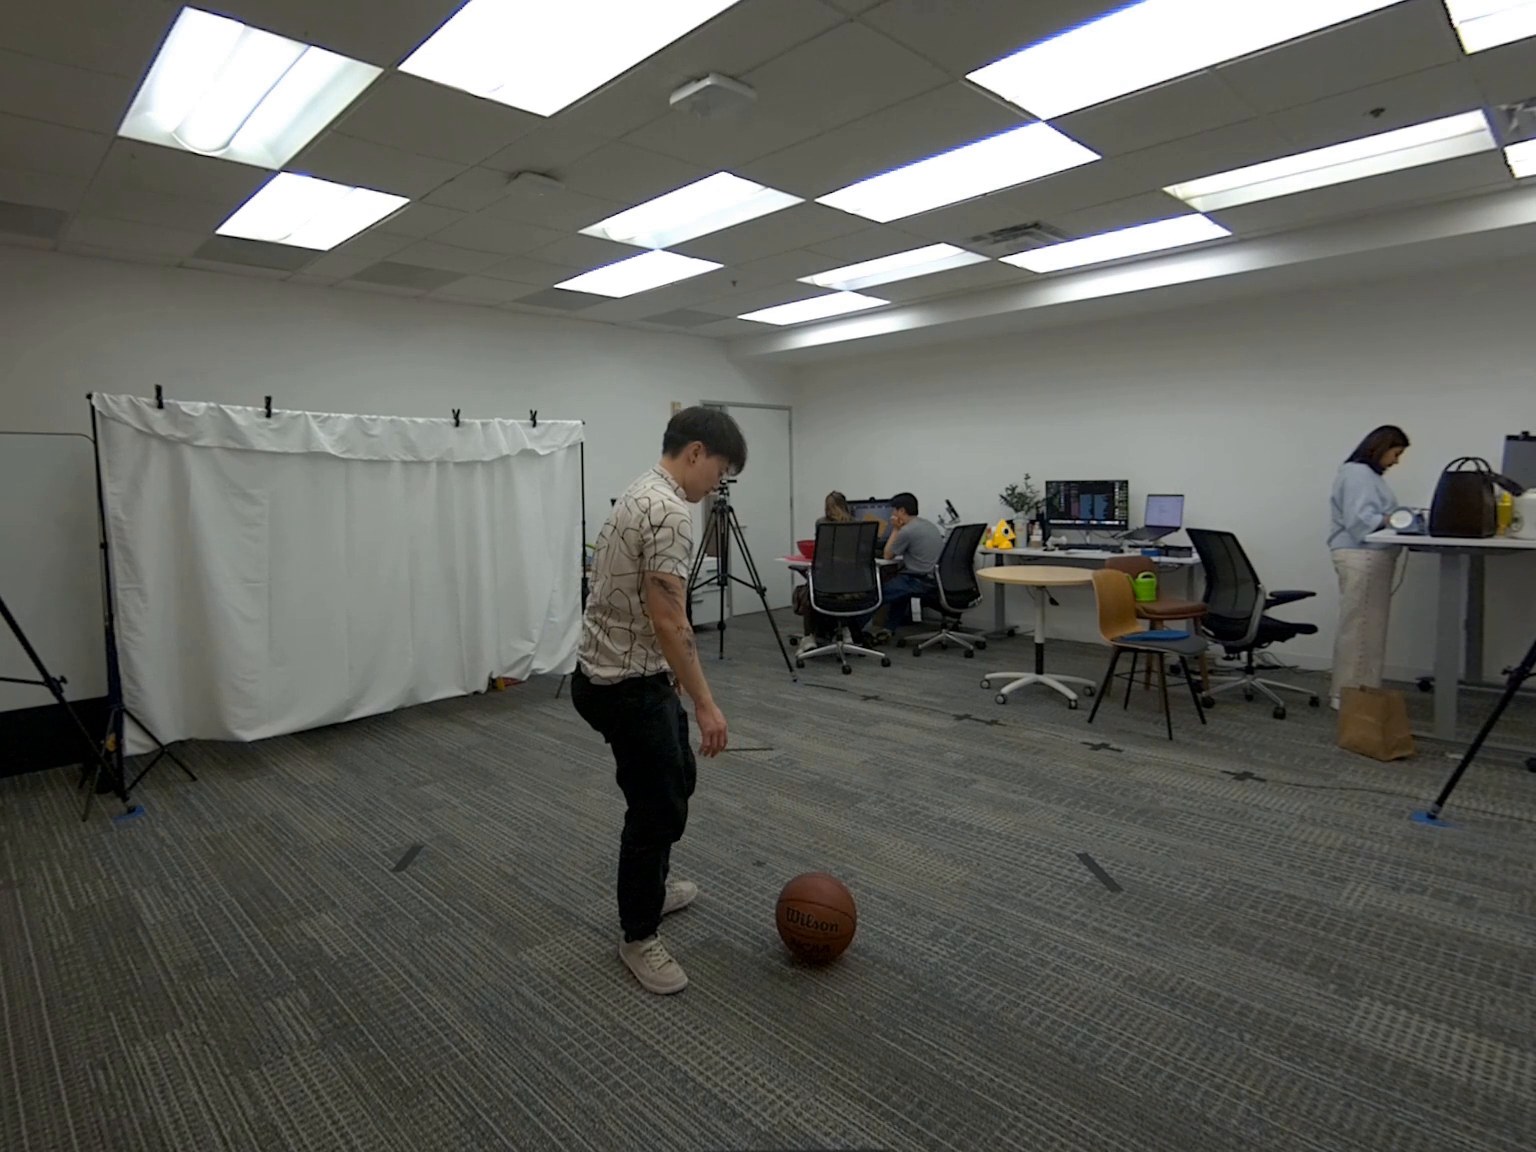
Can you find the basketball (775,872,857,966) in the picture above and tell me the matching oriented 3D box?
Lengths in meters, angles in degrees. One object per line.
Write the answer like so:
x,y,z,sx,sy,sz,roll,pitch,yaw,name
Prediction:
0.145,0.992,2.503,0.236,0.235,0.237,-1,5,-2,basketball
